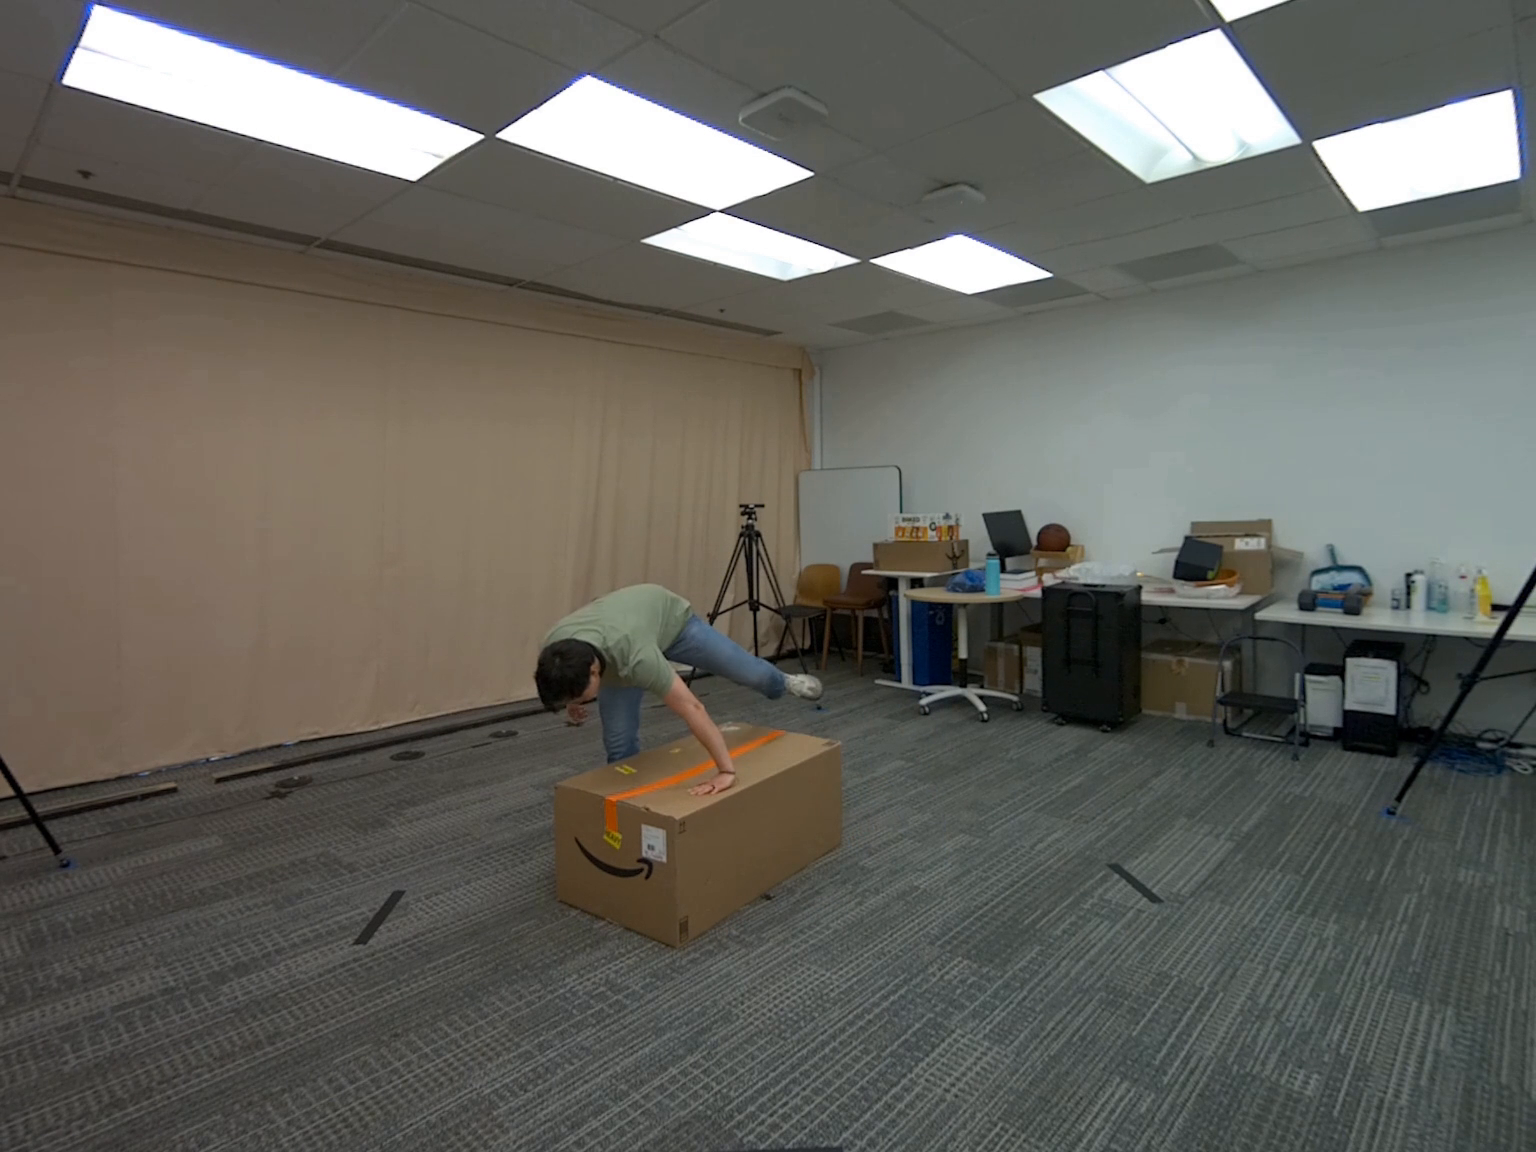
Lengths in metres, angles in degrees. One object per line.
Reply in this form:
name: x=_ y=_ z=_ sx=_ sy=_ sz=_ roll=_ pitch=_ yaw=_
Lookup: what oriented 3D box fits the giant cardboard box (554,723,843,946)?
giant cardboard box: x=-0.222 y=0.914 z=3.201 sx=0.596 sy=0.425 sz=0.996 roll=2 pitch=6 yaw=36
